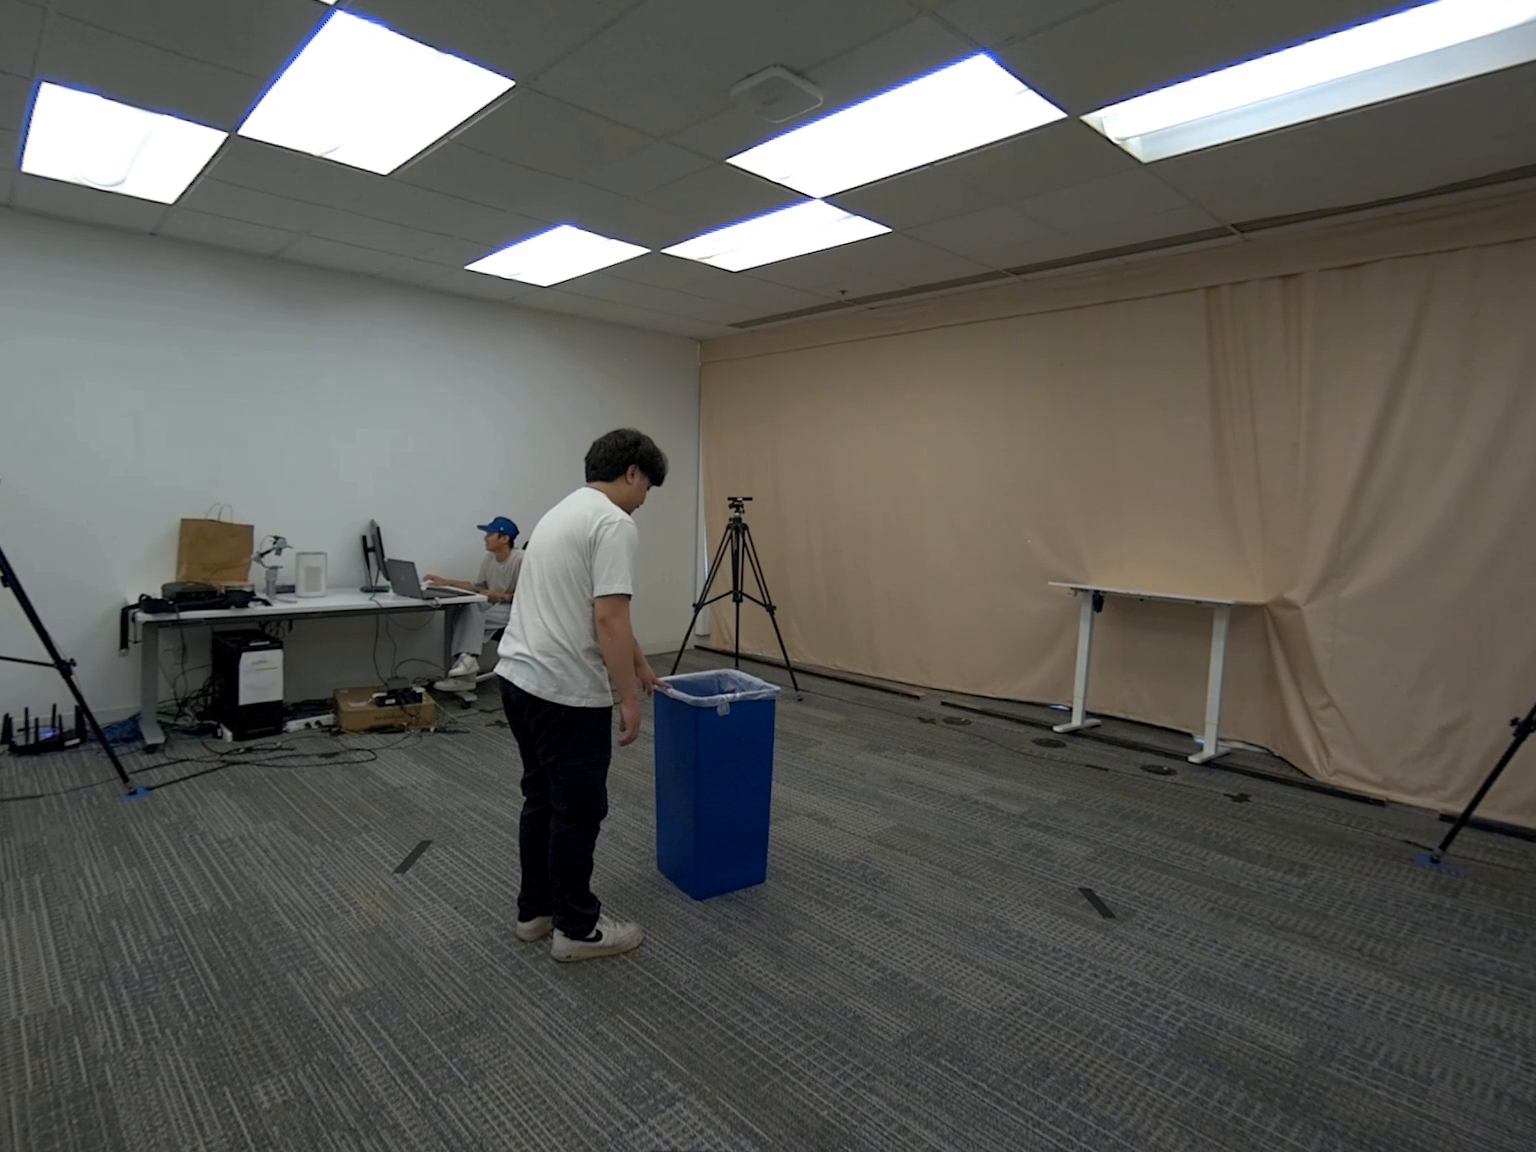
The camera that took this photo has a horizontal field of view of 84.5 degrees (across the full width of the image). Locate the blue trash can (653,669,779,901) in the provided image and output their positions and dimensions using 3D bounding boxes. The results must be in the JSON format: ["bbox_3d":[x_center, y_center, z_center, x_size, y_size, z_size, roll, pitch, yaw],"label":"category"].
[{"bbox_3d":[-0.216,0.747,3.096,0.370,0.712,0.383,-1,4,-34],"label":"blue trash can"}]
